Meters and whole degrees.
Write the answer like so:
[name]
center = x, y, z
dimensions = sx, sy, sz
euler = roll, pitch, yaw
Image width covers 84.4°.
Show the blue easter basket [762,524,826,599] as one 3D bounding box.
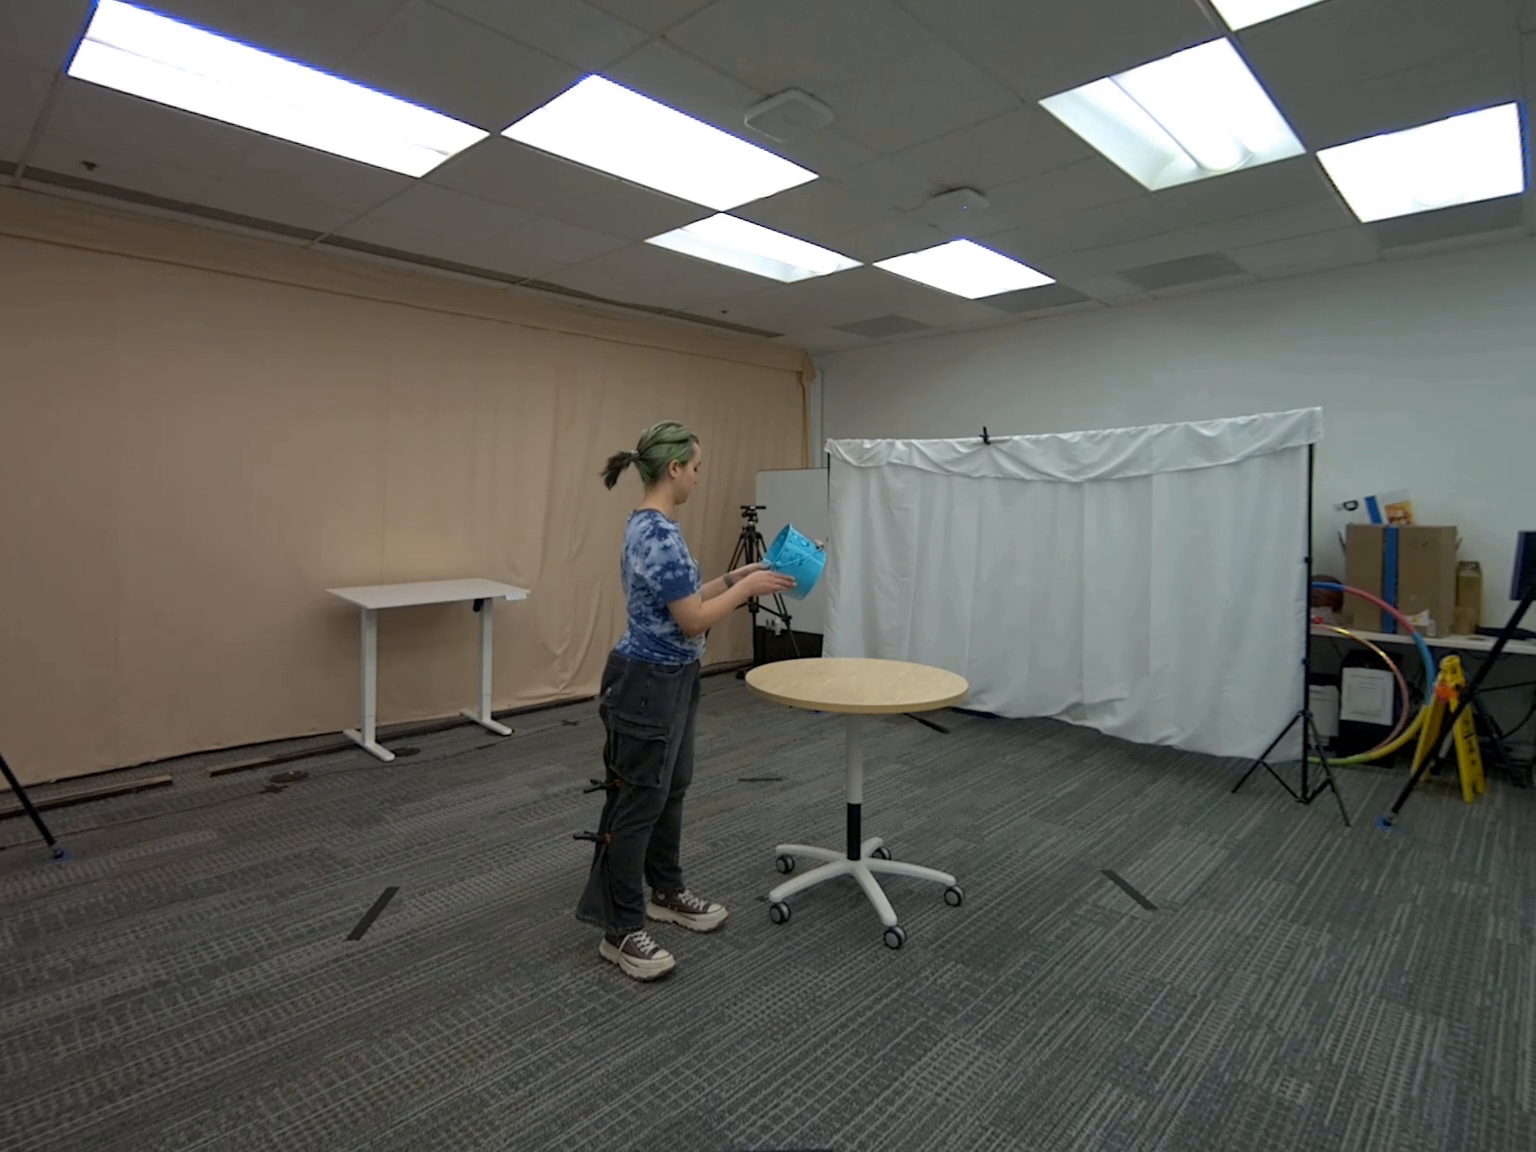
[blue easter basket]
center = 0.088, -0.036, 2.741
dimensions = 0.154, 0.243, 0.246
euler = 27, 0, -9
